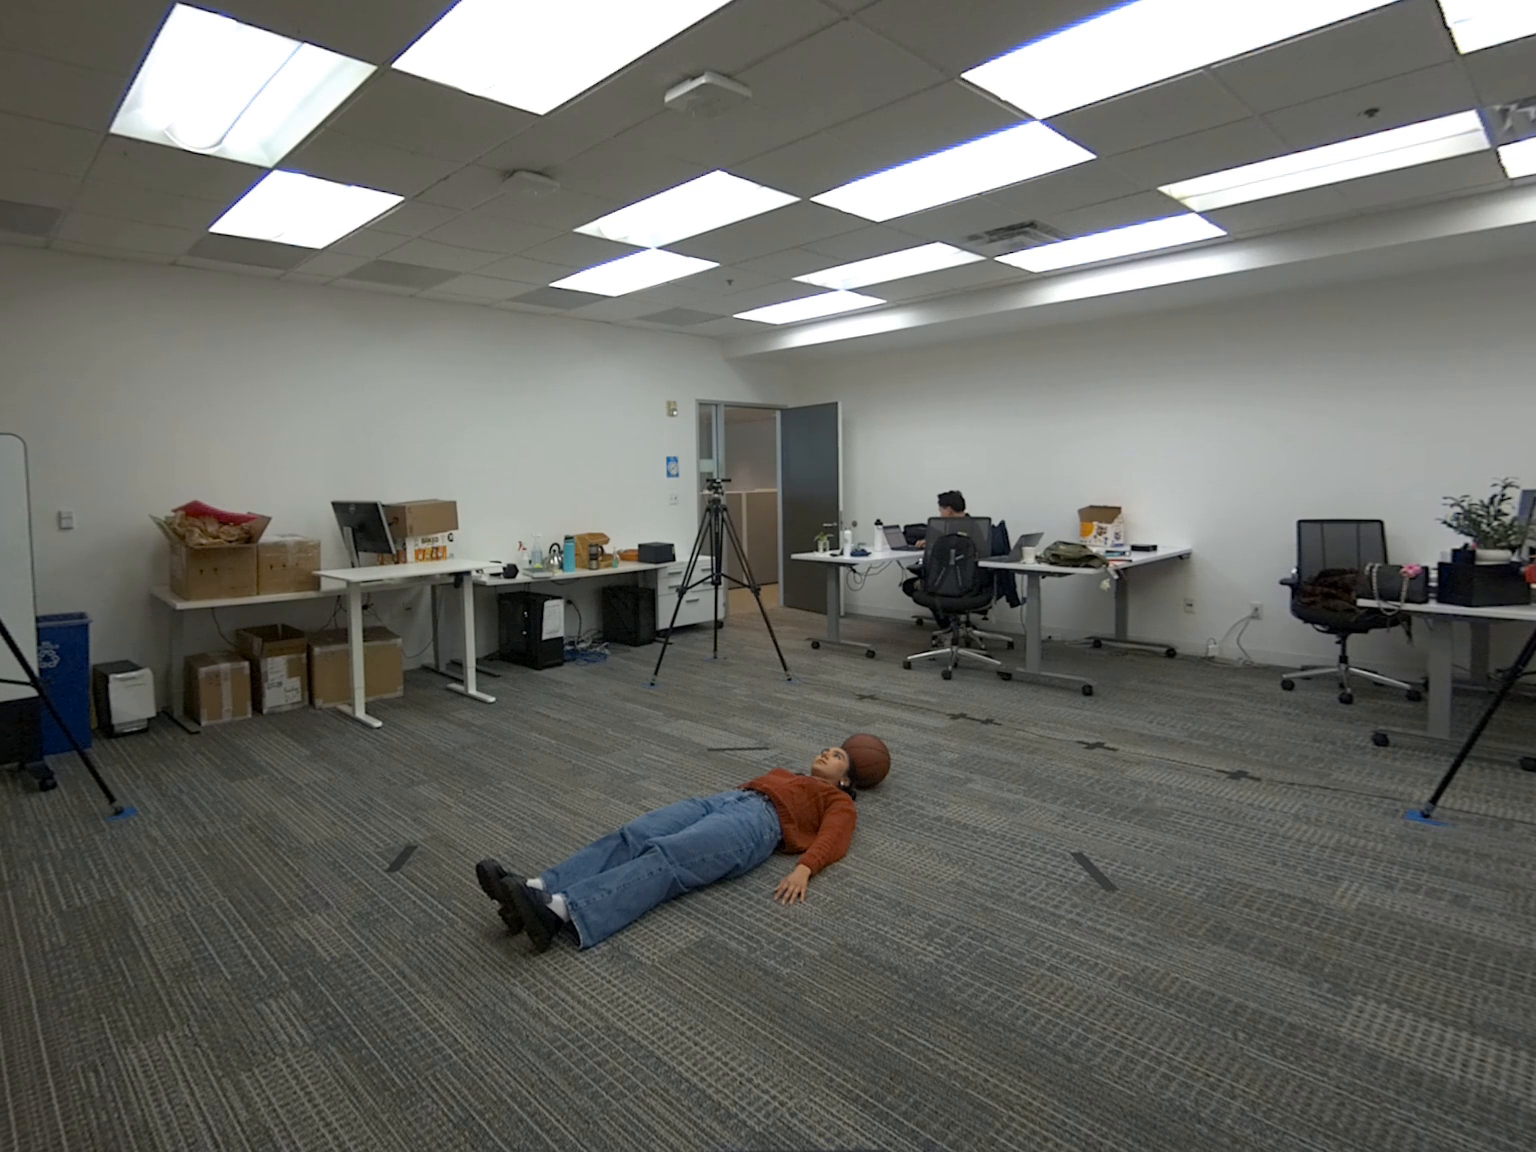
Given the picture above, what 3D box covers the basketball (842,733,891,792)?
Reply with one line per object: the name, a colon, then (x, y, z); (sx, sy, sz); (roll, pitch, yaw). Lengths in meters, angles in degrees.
basketball: (0.435, 0.830, 3.858); (0.236, 0.236, 0.236); (0, 1, -2)
